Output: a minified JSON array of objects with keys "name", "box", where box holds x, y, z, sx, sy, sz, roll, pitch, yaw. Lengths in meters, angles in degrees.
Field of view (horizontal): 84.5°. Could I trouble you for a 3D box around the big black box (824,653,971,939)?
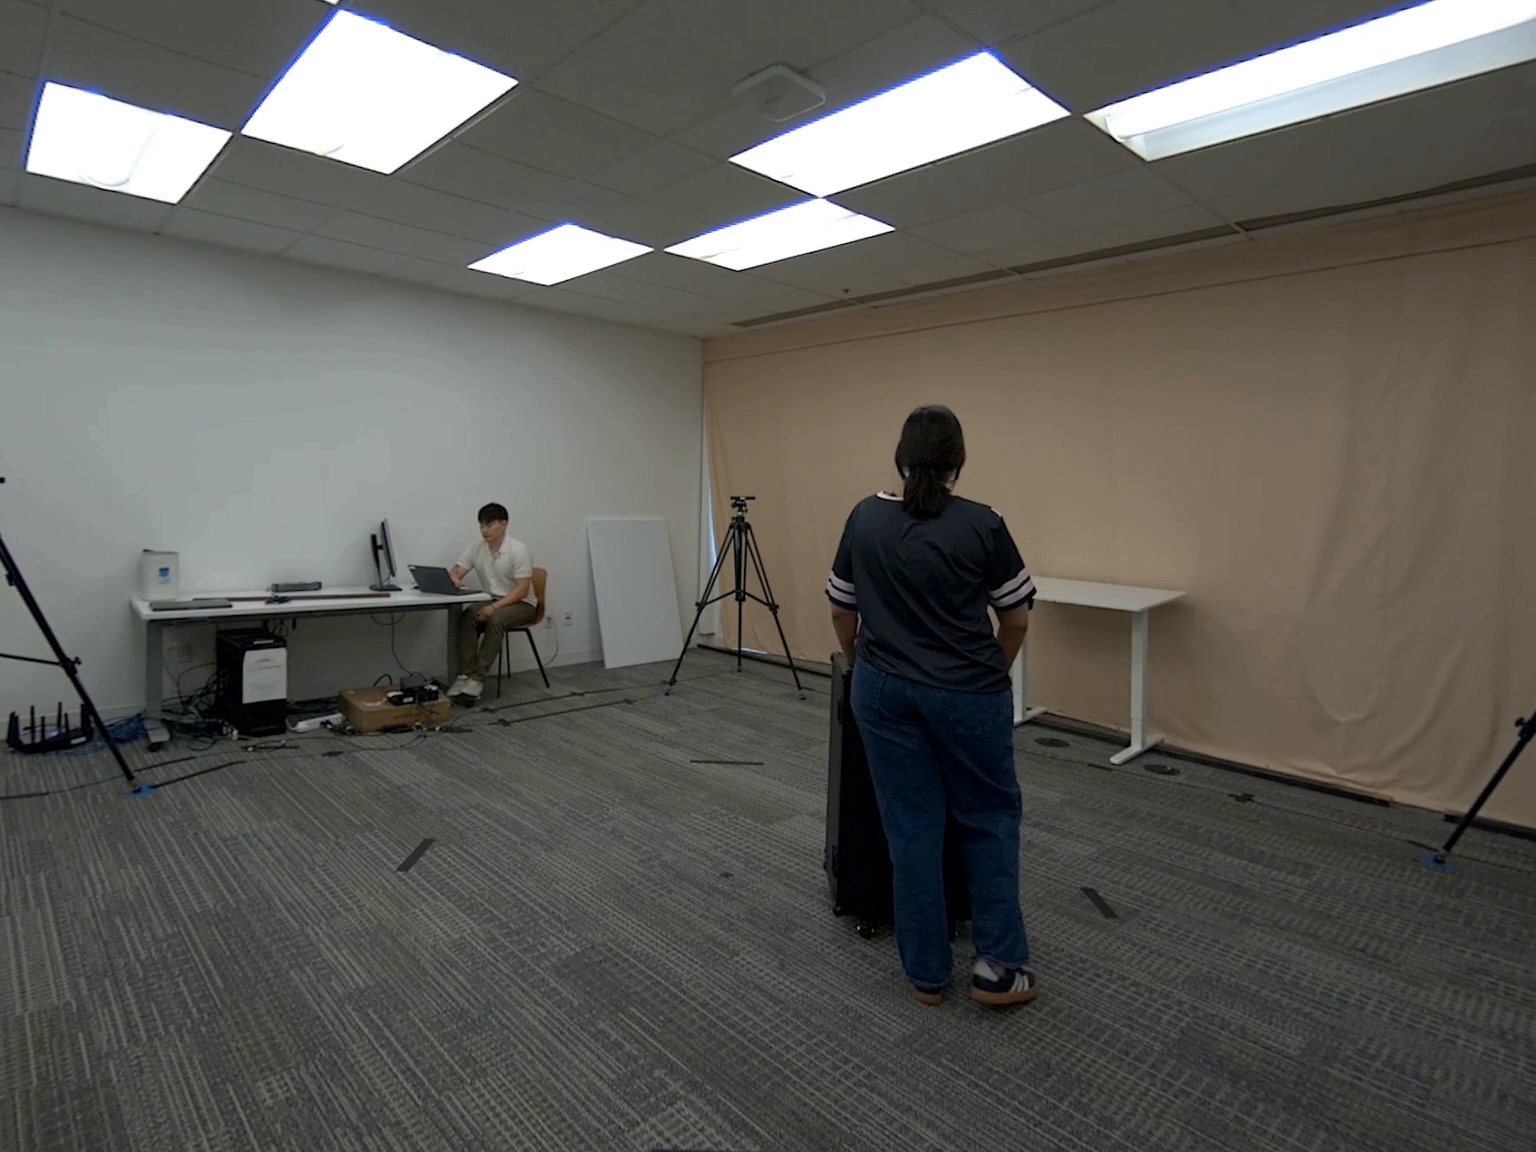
[{"name":"big black box","box":[0.455,0.719,2.826,0.523,0.867,0.386,1,3,-1]}]
